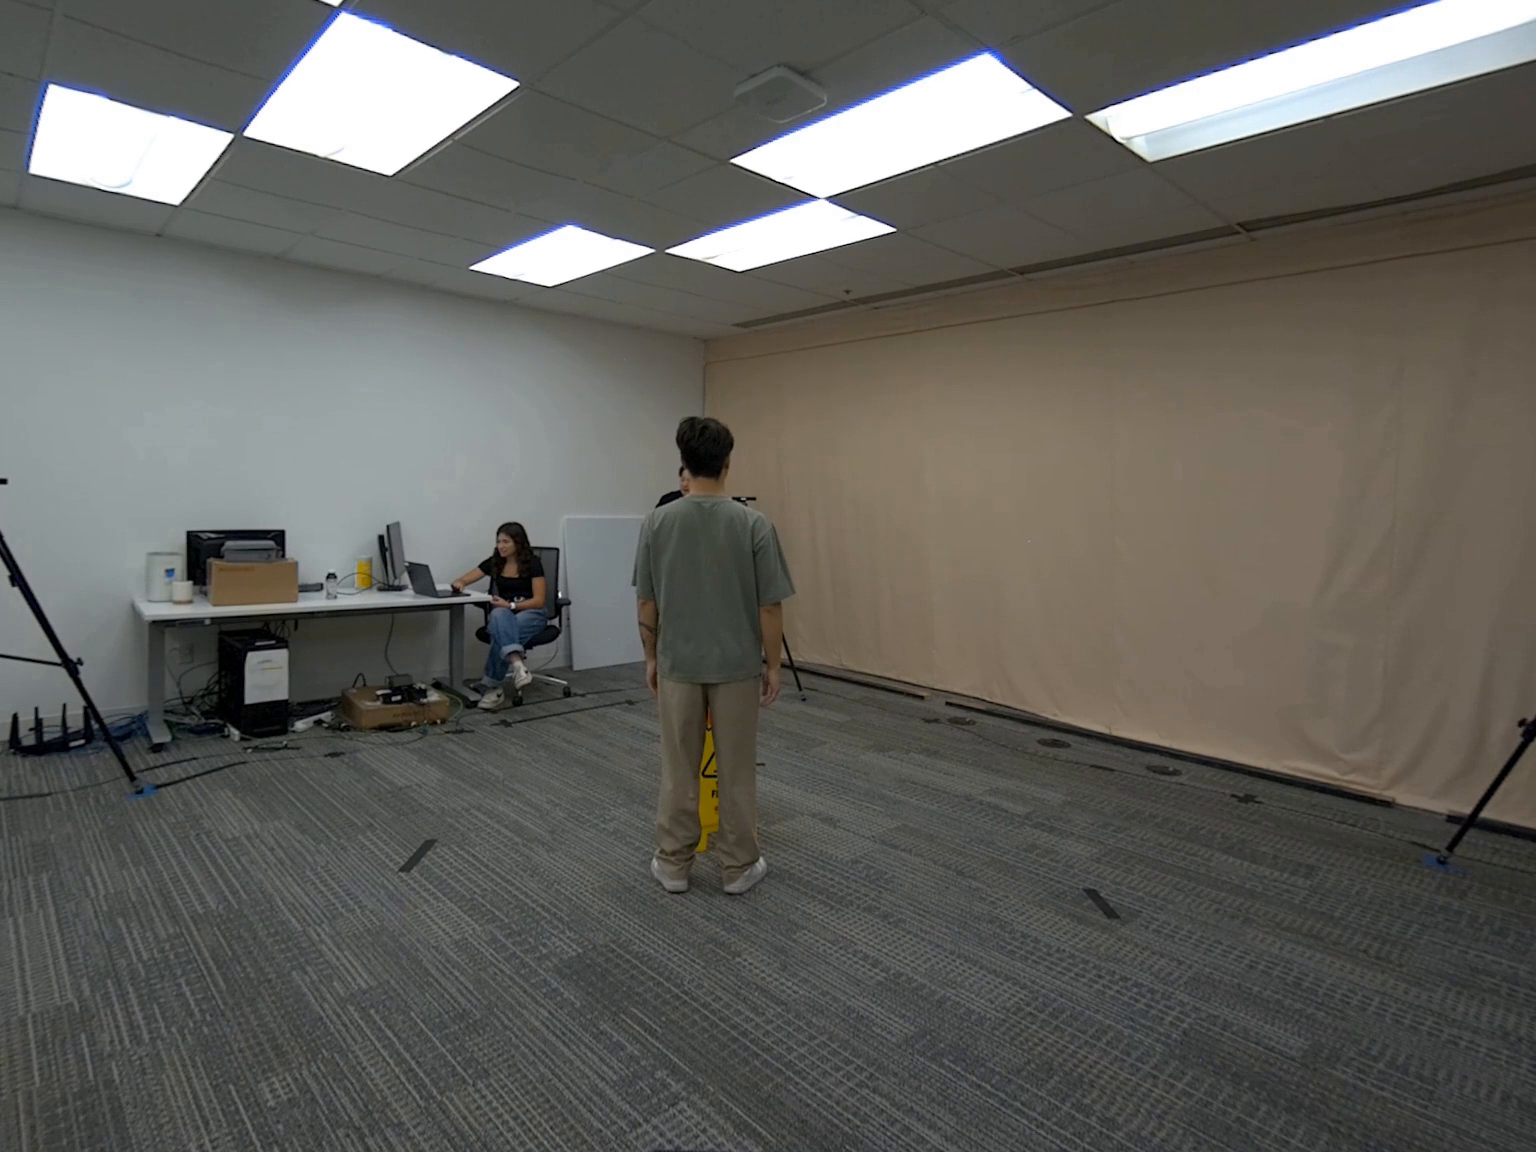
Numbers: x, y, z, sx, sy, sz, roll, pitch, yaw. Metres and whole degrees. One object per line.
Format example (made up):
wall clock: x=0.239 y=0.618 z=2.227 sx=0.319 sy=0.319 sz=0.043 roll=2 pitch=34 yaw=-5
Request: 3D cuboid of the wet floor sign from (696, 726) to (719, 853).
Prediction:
wet floor sign: x=-0.184 y=0.757 z=3.426 sx=0.281 sy=0.645 sz=0.291 roll=3 pitch=3 yaw=-6
